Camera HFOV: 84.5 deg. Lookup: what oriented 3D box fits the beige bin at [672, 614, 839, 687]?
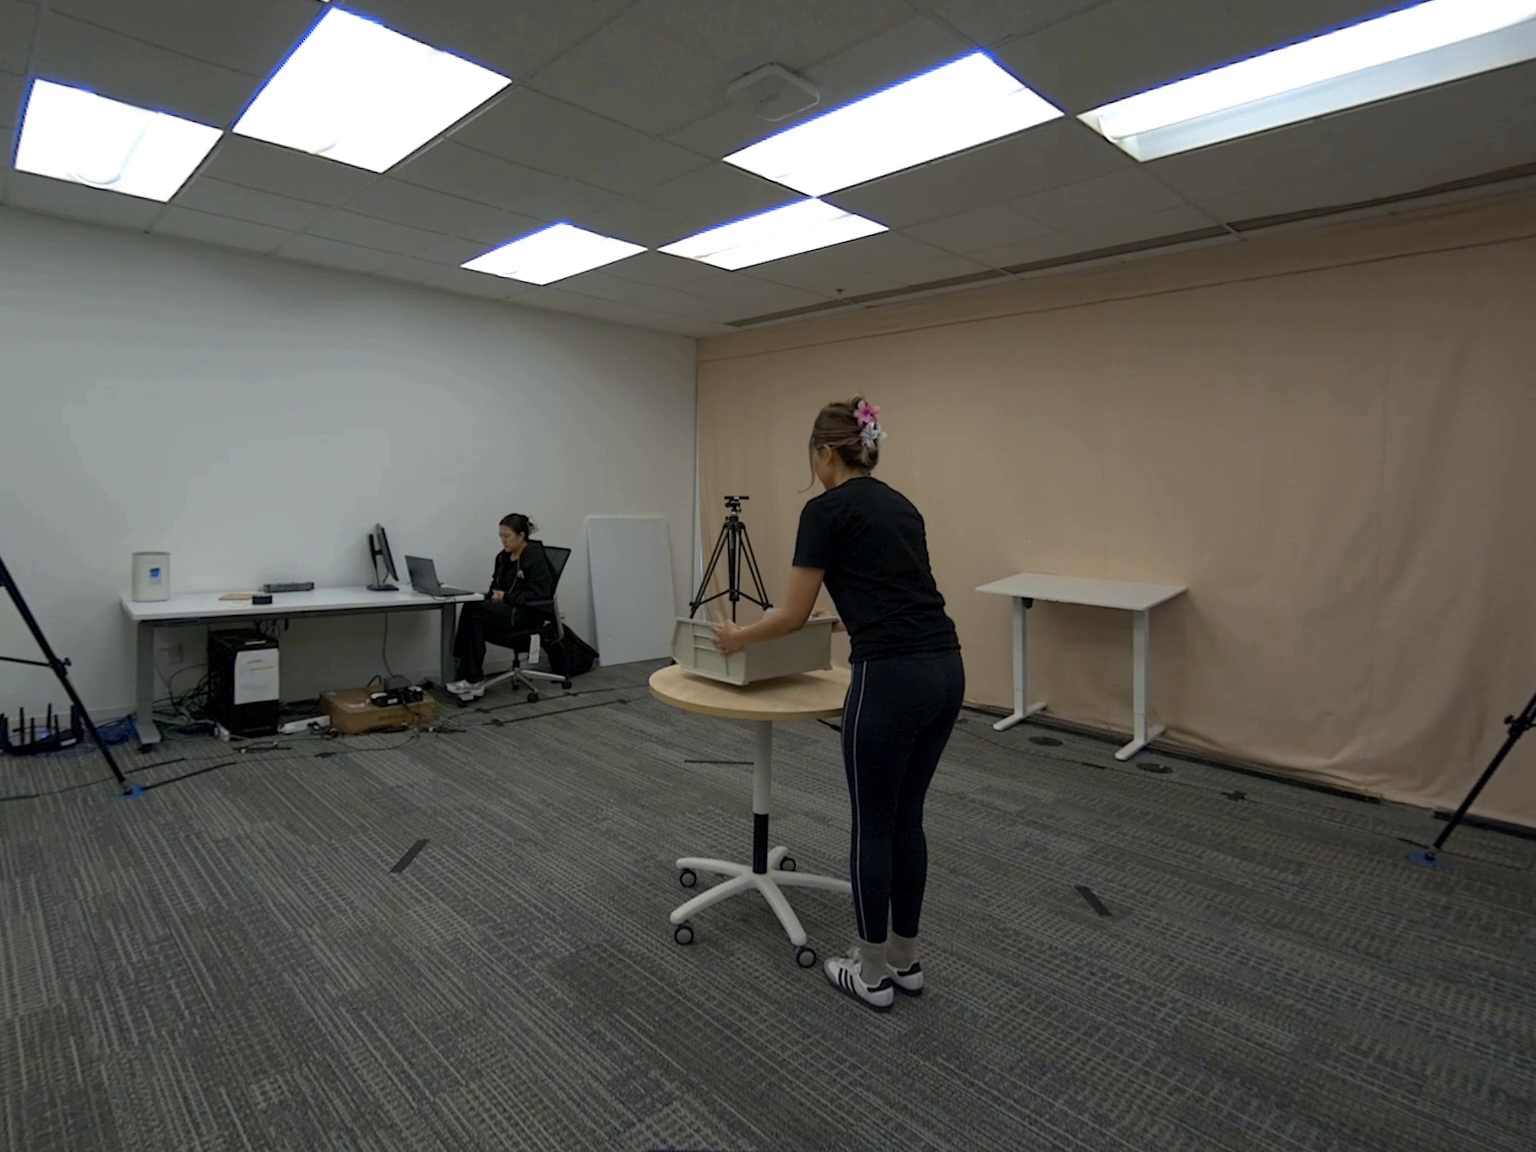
[{"bbox_3d":[-0.057,0.227,2.824,0.413,0.188,0.387,-3,6,-42],"label":"beige bin"}]
